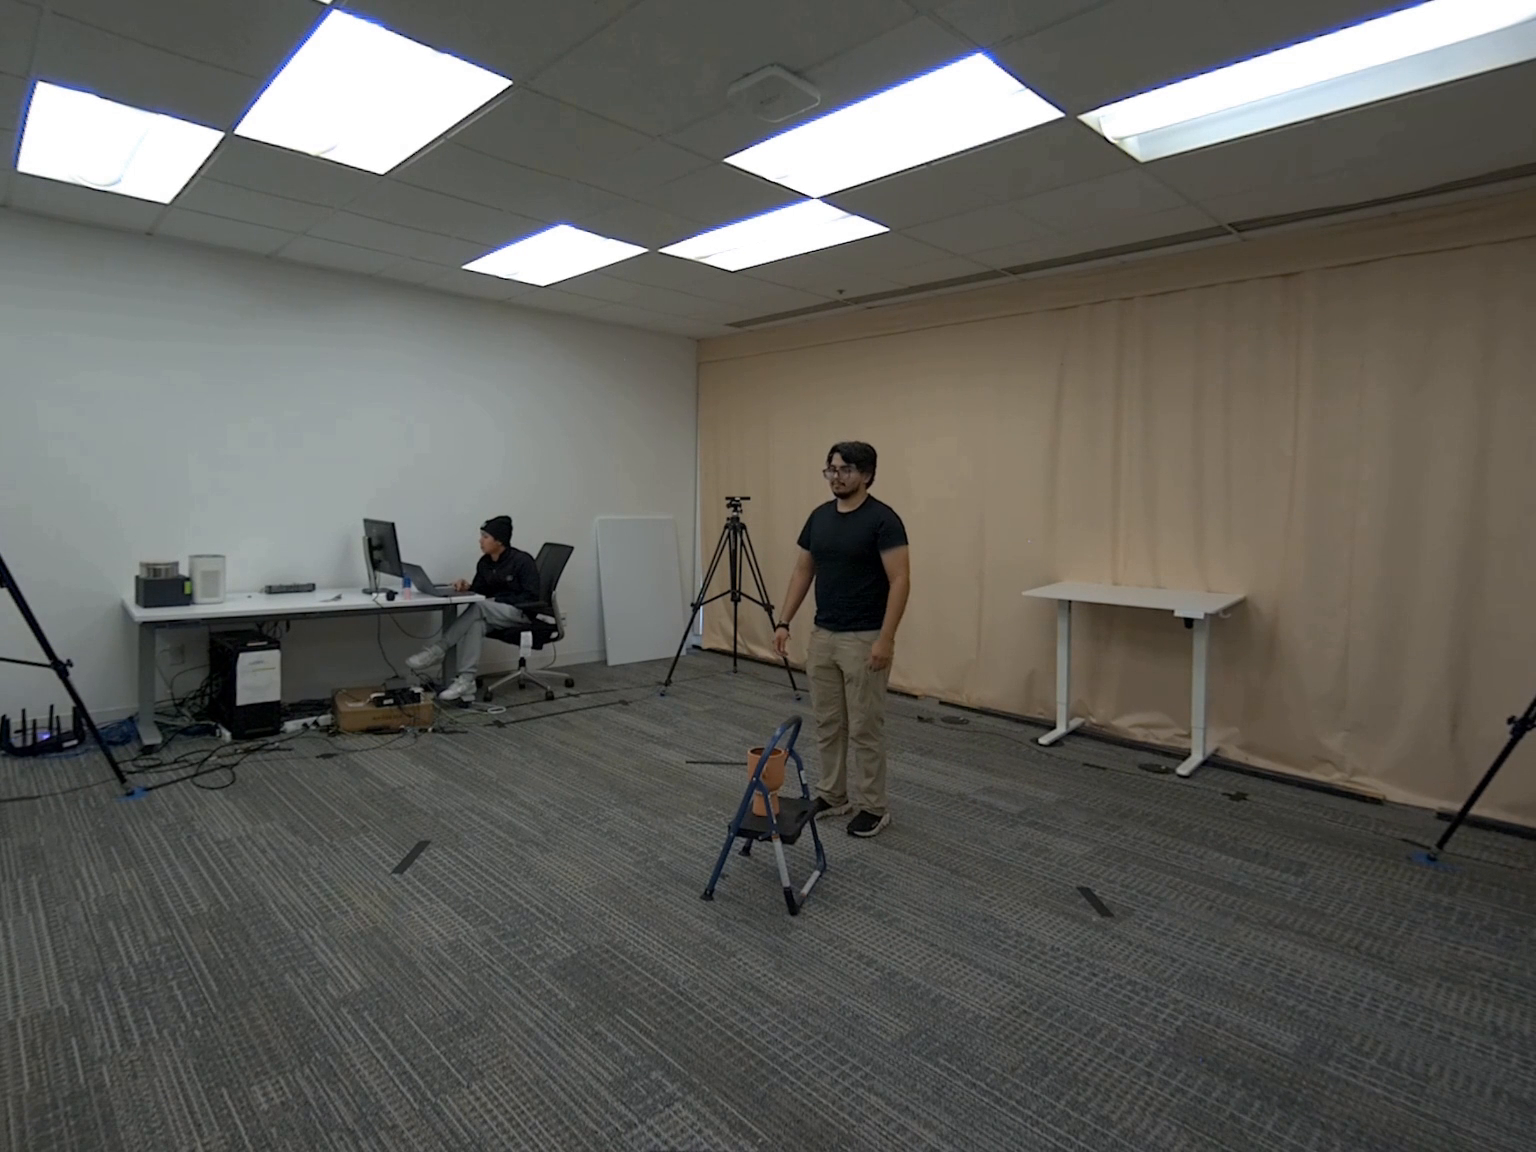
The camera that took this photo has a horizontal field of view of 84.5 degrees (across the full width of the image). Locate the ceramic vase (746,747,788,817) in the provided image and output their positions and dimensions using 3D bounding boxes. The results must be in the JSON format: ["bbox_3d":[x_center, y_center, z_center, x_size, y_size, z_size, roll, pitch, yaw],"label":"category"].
[{"bbox_3d":[-0.015,0.744,3.041,0.138,0.219,0.155,3,4,43],"label":"ceramic vase"}]
